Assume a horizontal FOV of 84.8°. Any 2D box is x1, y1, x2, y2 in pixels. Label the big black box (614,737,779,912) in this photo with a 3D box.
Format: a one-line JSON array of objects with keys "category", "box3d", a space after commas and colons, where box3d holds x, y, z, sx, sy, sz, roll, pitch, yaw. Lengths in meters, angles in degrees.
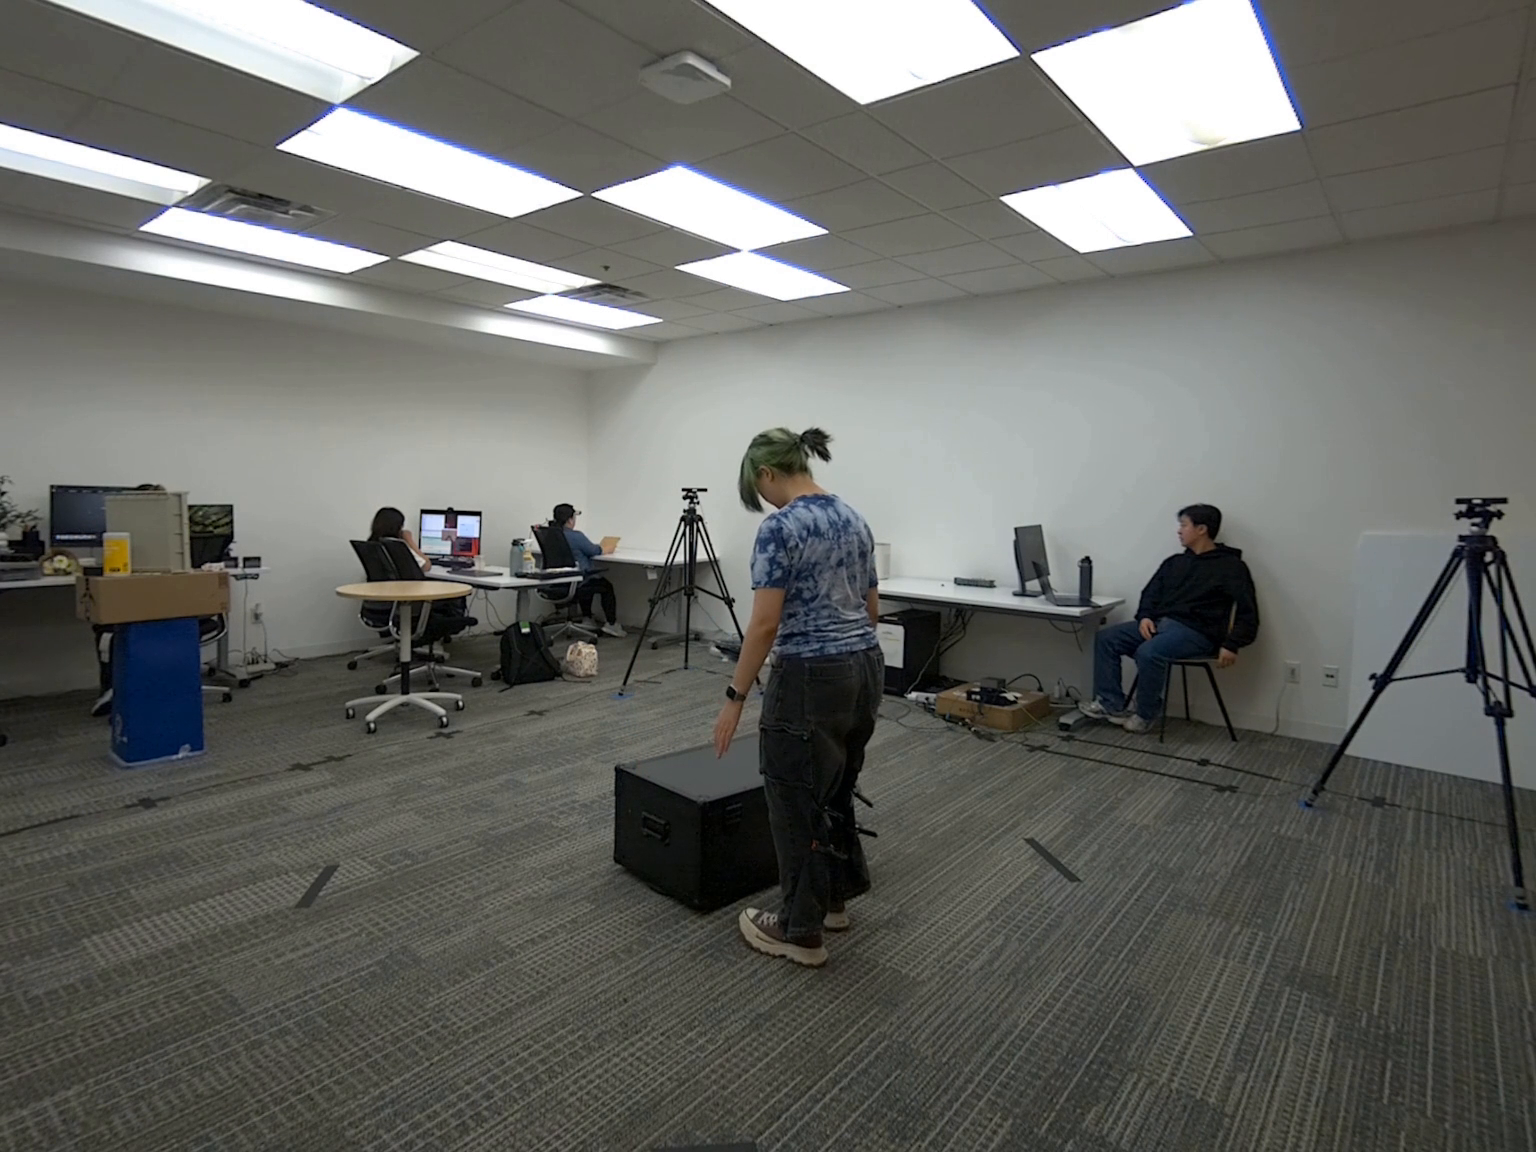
[{"category": "big black box", "box3d": [-0.103, 0.874, 3.192, 0.836, 0.394, 0.539, -5, 8, -44]}]
